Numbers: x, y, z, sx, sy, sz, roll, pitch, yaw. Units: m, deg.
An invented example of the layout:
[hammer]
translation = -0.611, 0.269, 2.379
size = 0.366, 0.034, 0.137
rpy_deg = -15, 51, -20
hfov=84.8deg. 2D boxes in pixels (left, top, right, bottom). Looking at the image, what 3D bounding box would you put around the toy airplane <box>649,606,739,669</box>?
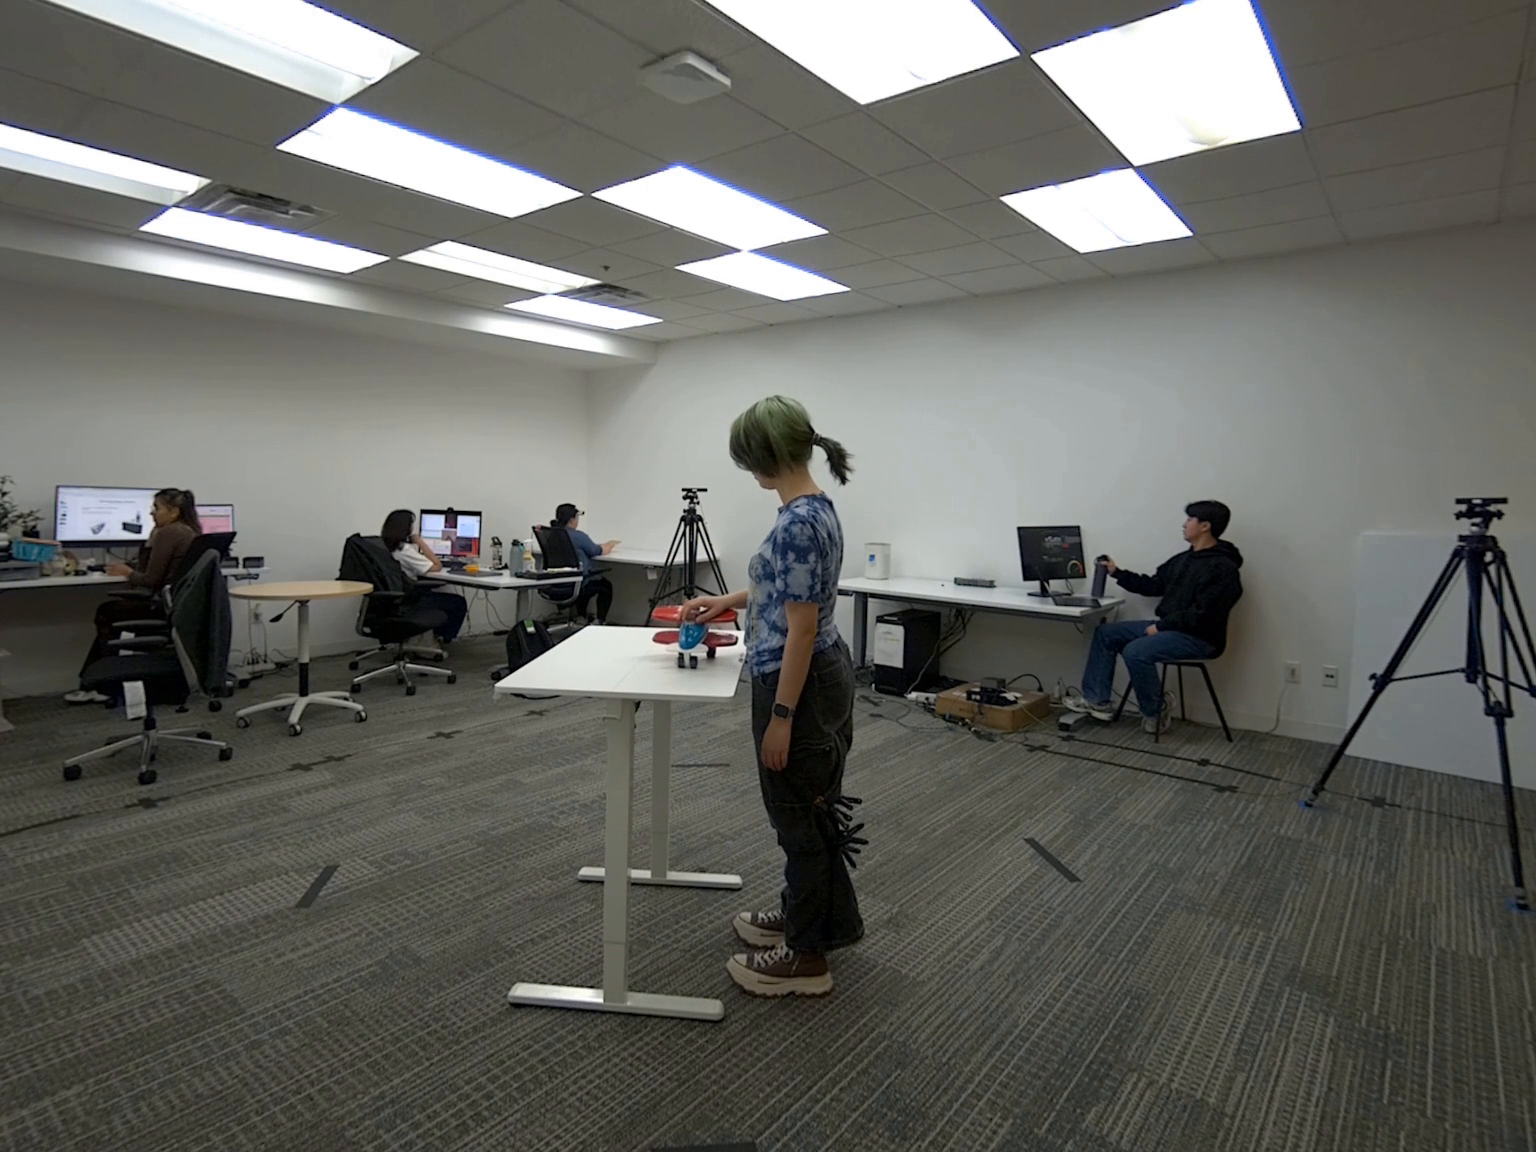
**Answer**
[toy airplane]
translation = -0.206, 0.174, 2.493
size = 0.245, 0.156, 0.266
rpy_deg = 1, 4, -24
